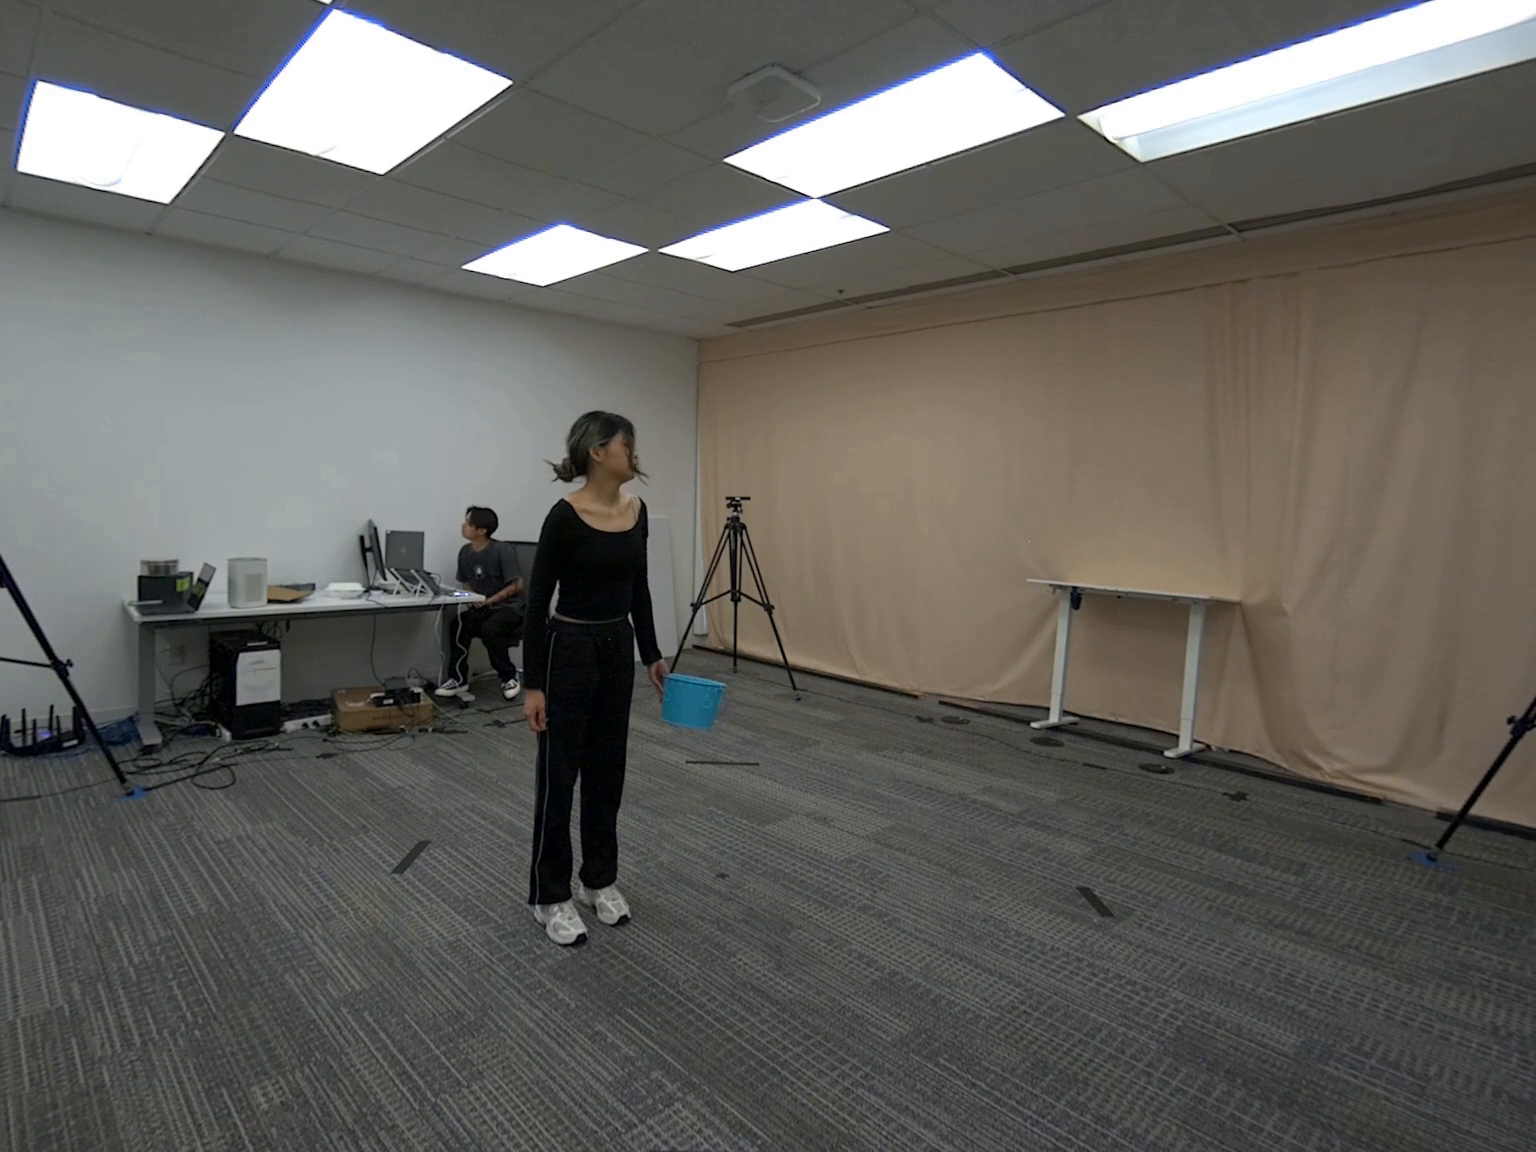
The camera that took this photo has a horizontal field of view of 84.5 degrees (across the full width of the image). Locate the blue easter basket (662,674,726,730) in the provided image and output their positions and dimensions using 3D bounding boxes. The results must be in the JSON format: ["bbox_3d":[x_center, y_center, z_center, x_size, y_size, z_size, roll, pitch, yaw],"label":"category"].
[{"bbox_3d":[-0.265,0.442,2.919,0.243,0.156,0.243,10,-4,-1],"label":"blue easter basket"}]
